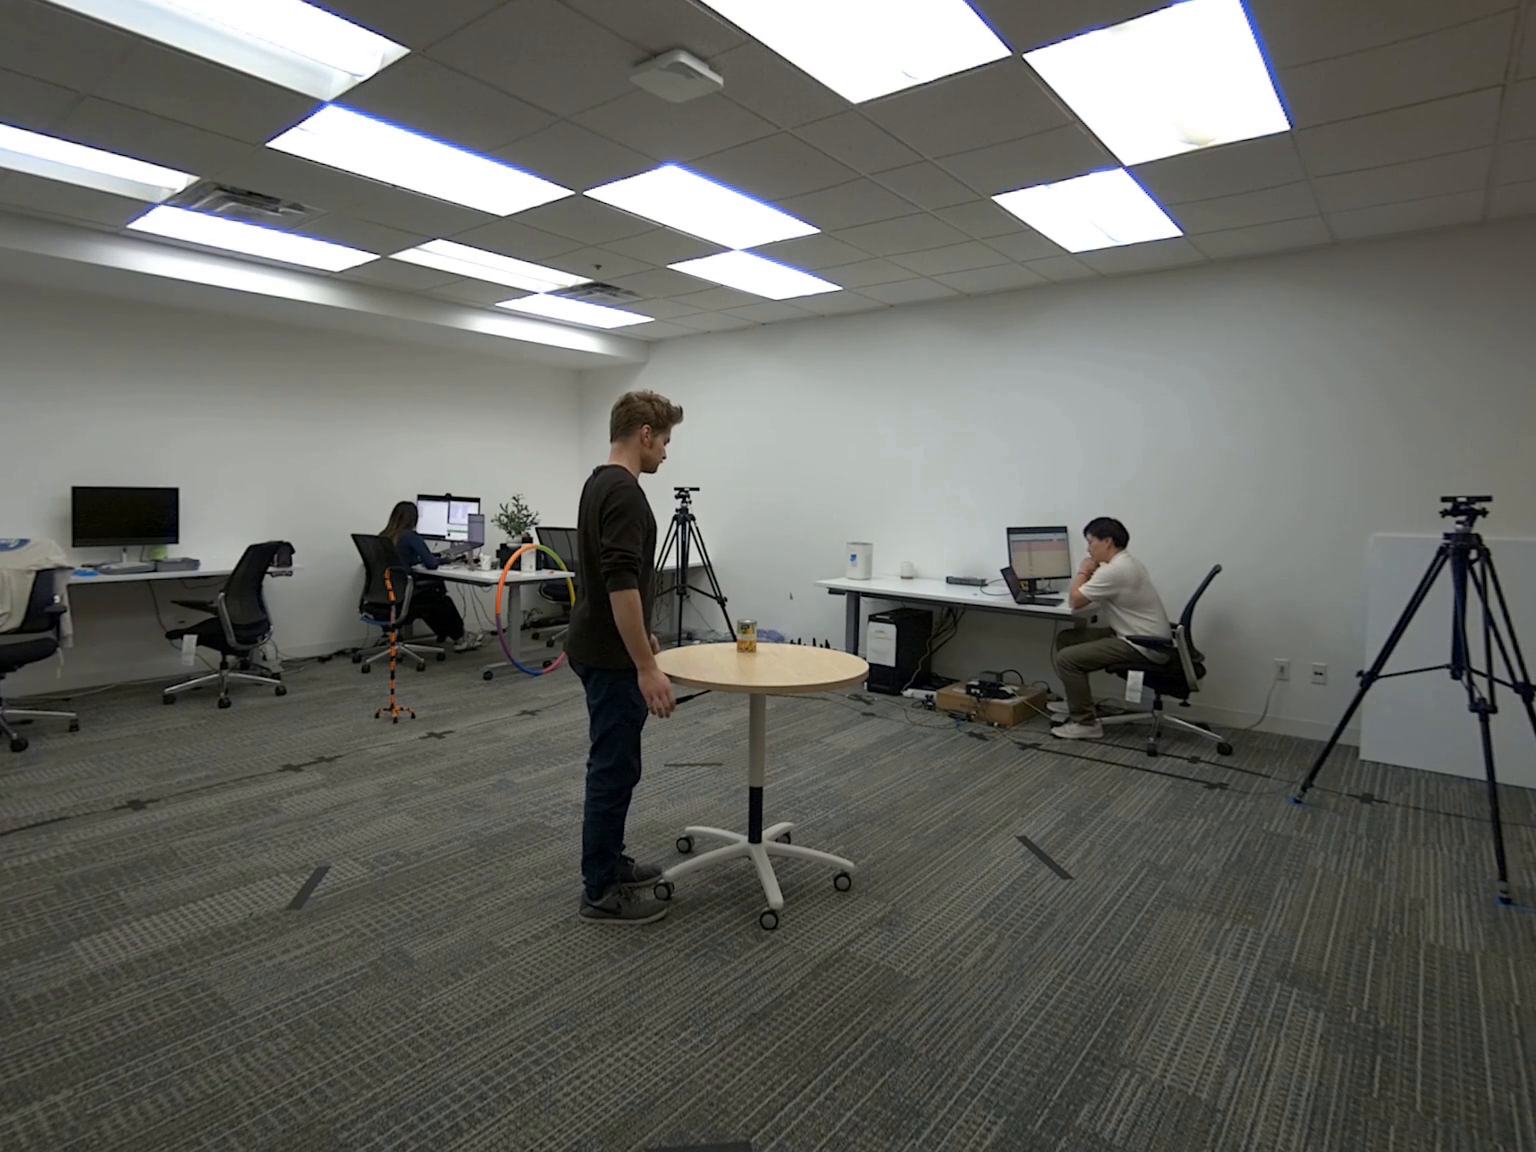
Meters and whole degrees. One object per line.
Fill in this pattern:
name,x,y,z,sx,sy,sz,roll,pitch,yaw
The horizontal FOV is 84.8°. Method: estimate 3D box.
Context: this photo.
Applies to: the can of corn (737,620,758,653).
can of corn,-0.088,0.224,3.182,0.074,0.111,0.074,2,2,-2
